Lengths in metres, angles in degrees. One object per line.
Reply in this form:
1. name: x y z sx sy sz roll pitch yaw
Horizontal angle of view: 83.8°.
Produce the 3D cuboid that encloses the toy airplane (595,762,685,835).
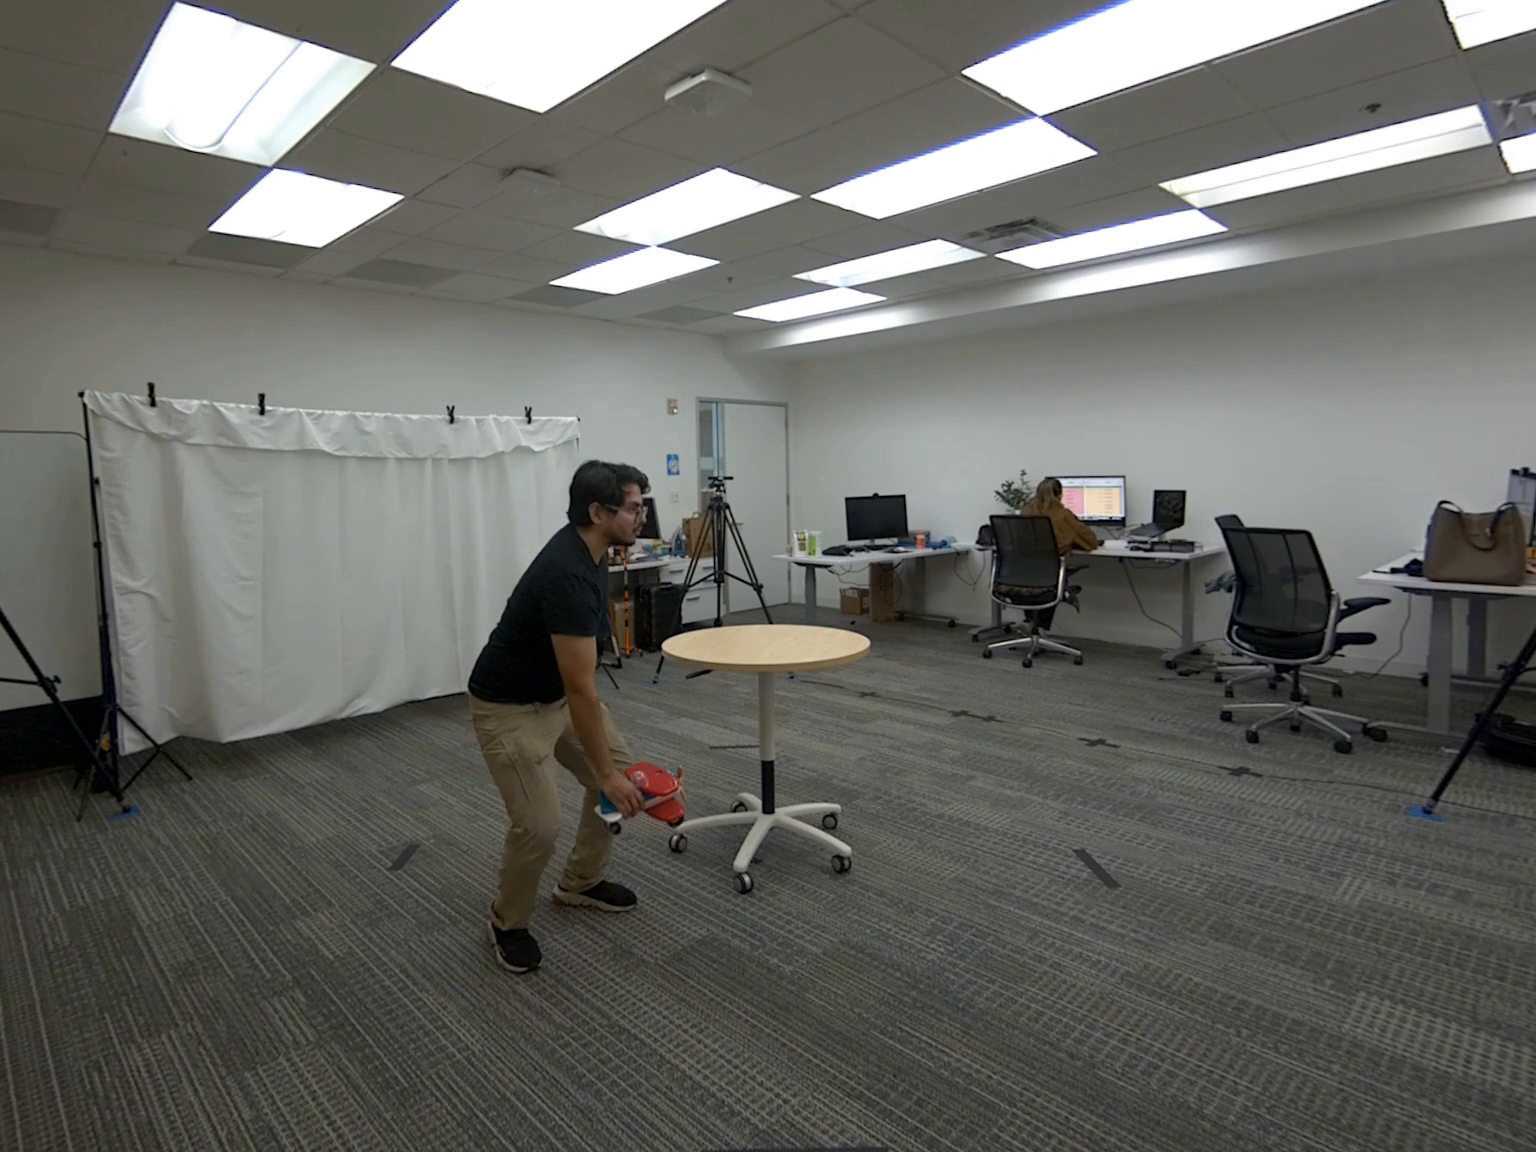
1. toy airplane: -0.353 0.647 2.451 0.258 0.156 0.252 6 5 33
